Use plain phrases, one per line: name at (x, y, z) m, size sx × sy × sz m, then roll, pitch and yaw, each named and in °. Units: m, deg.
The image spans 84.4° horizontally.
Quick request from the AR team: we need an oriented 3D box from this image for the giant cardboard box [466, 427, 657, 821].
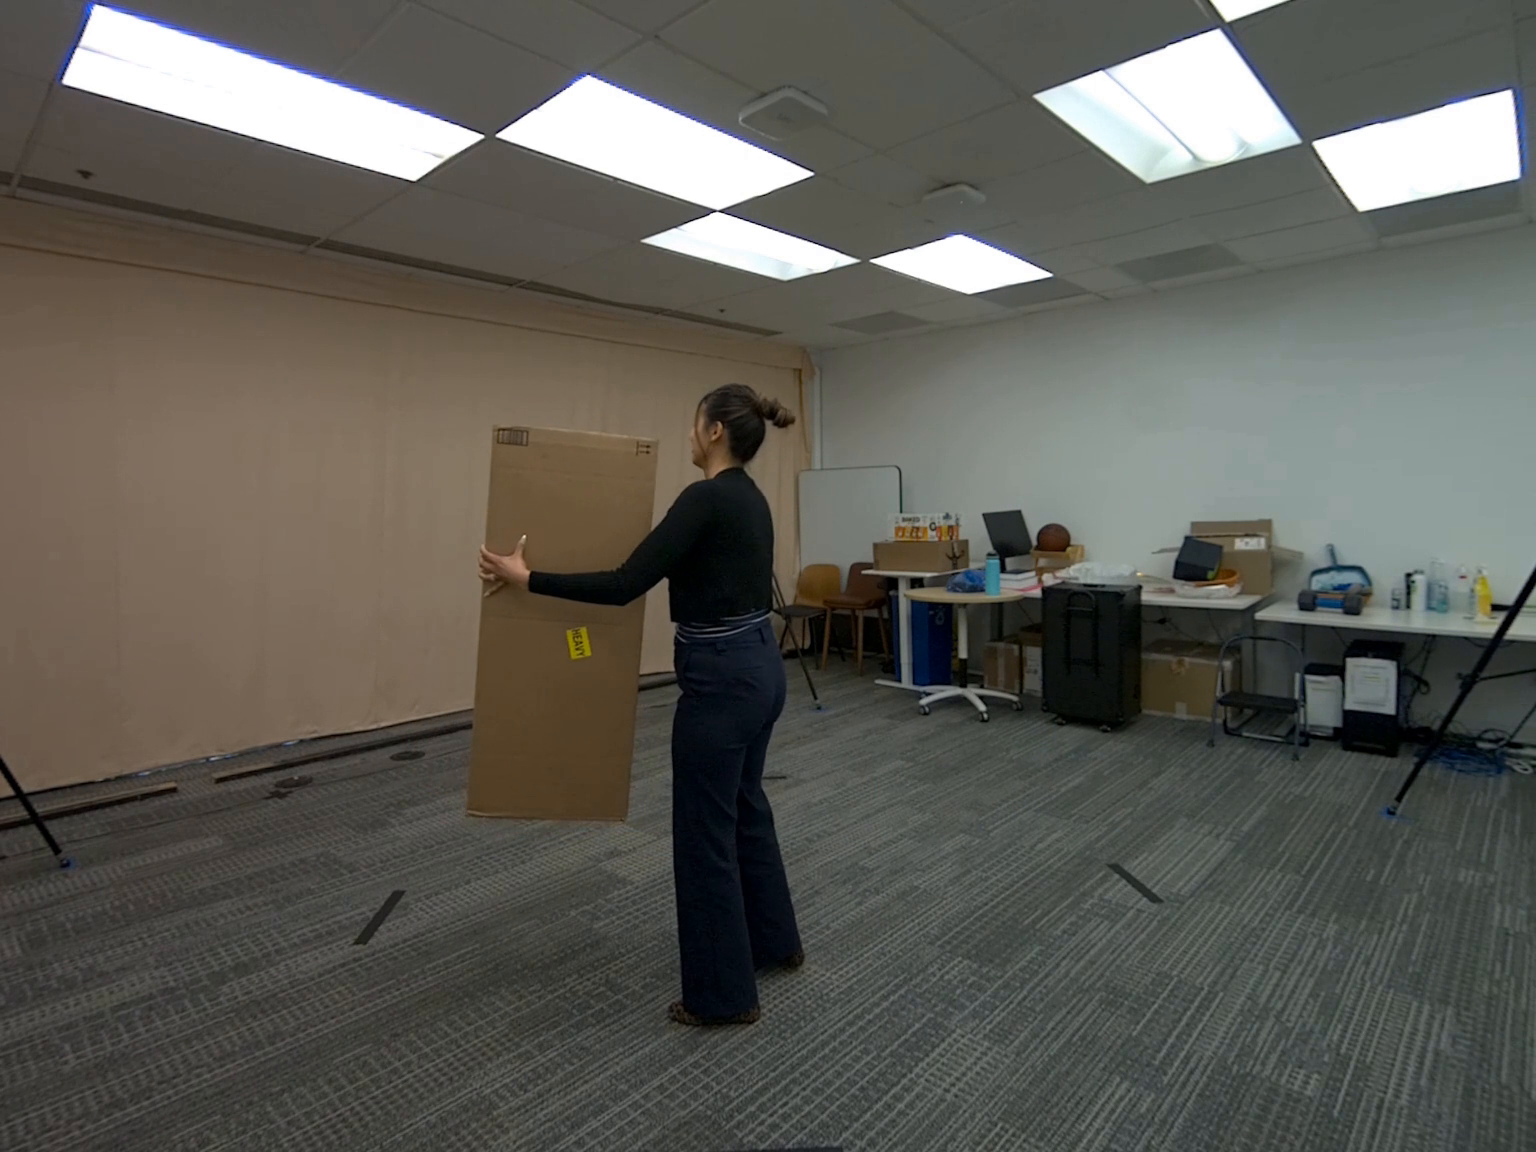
giant cardboard box at (-0.594, 0.100, 2.460) m, size 0.421 × 1.023 × 0.586 m, roll 4°, pitch 5°, yaw -11°
